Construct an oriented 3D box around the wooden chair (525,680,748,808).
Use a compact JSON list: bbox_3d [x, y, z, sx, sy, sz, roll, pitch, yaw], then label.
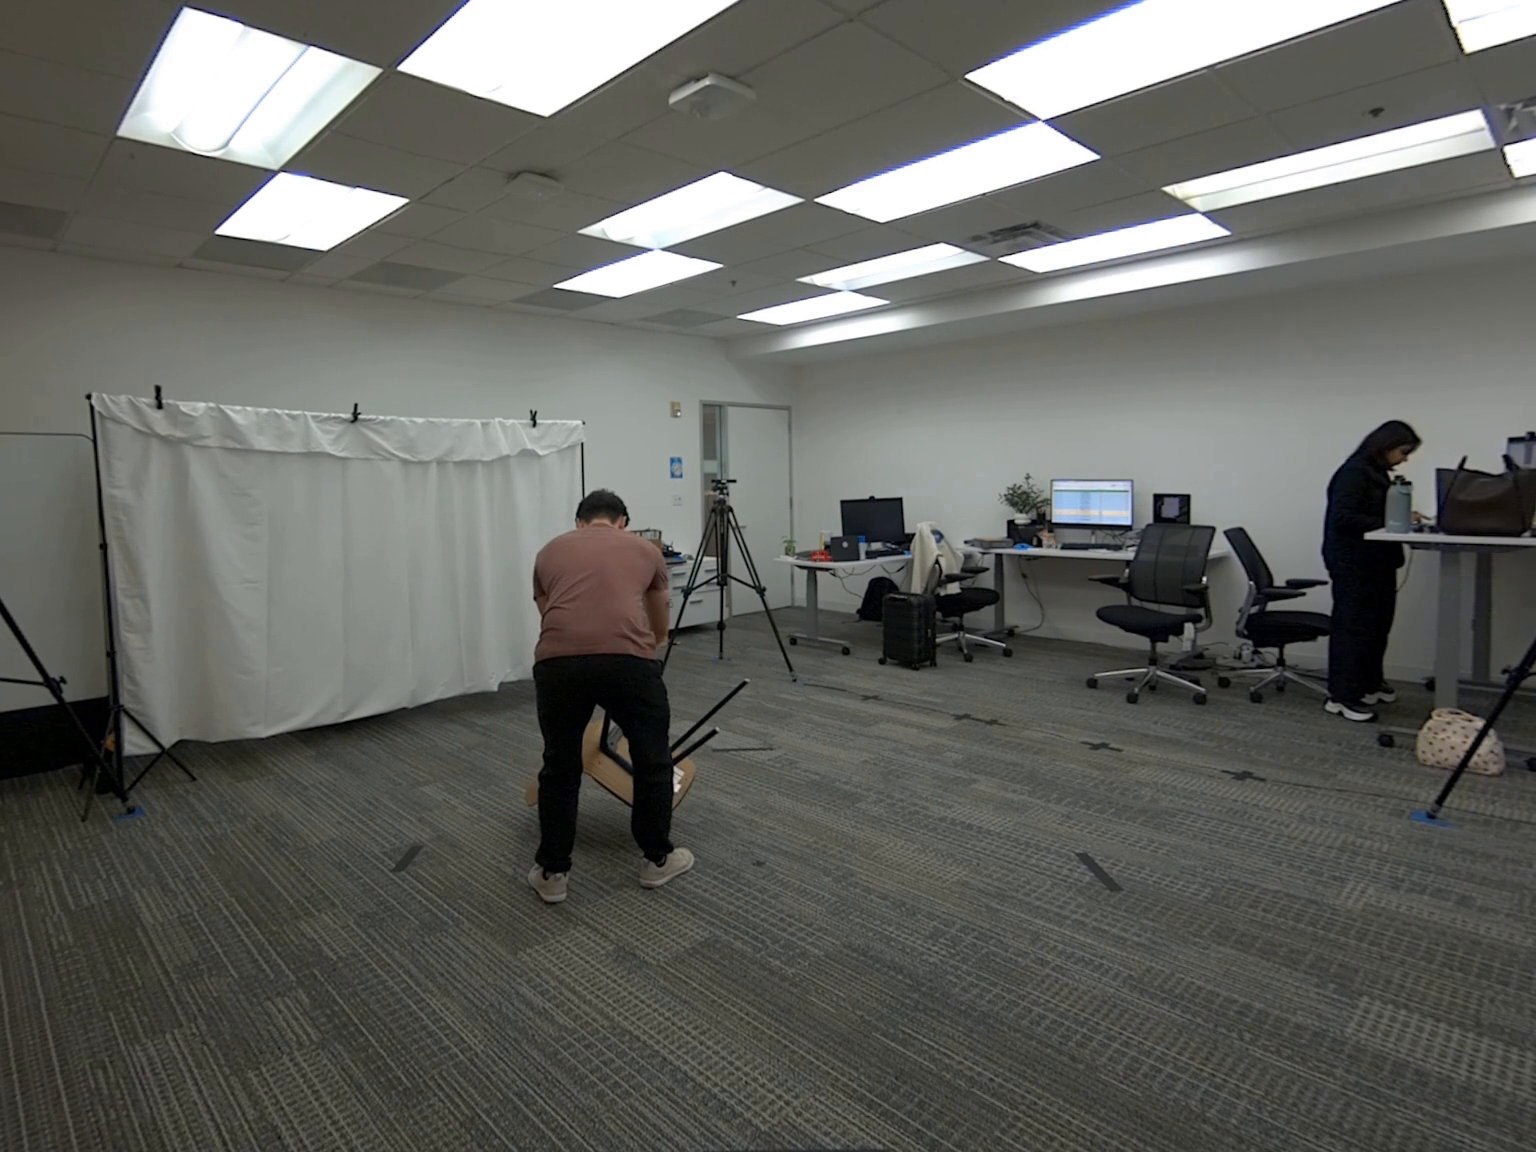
[{"bbox_3d":[-0.524,0.696,3.417,0.525,0.874,0.478,38,20,2],"label":"wooden chair"}]
